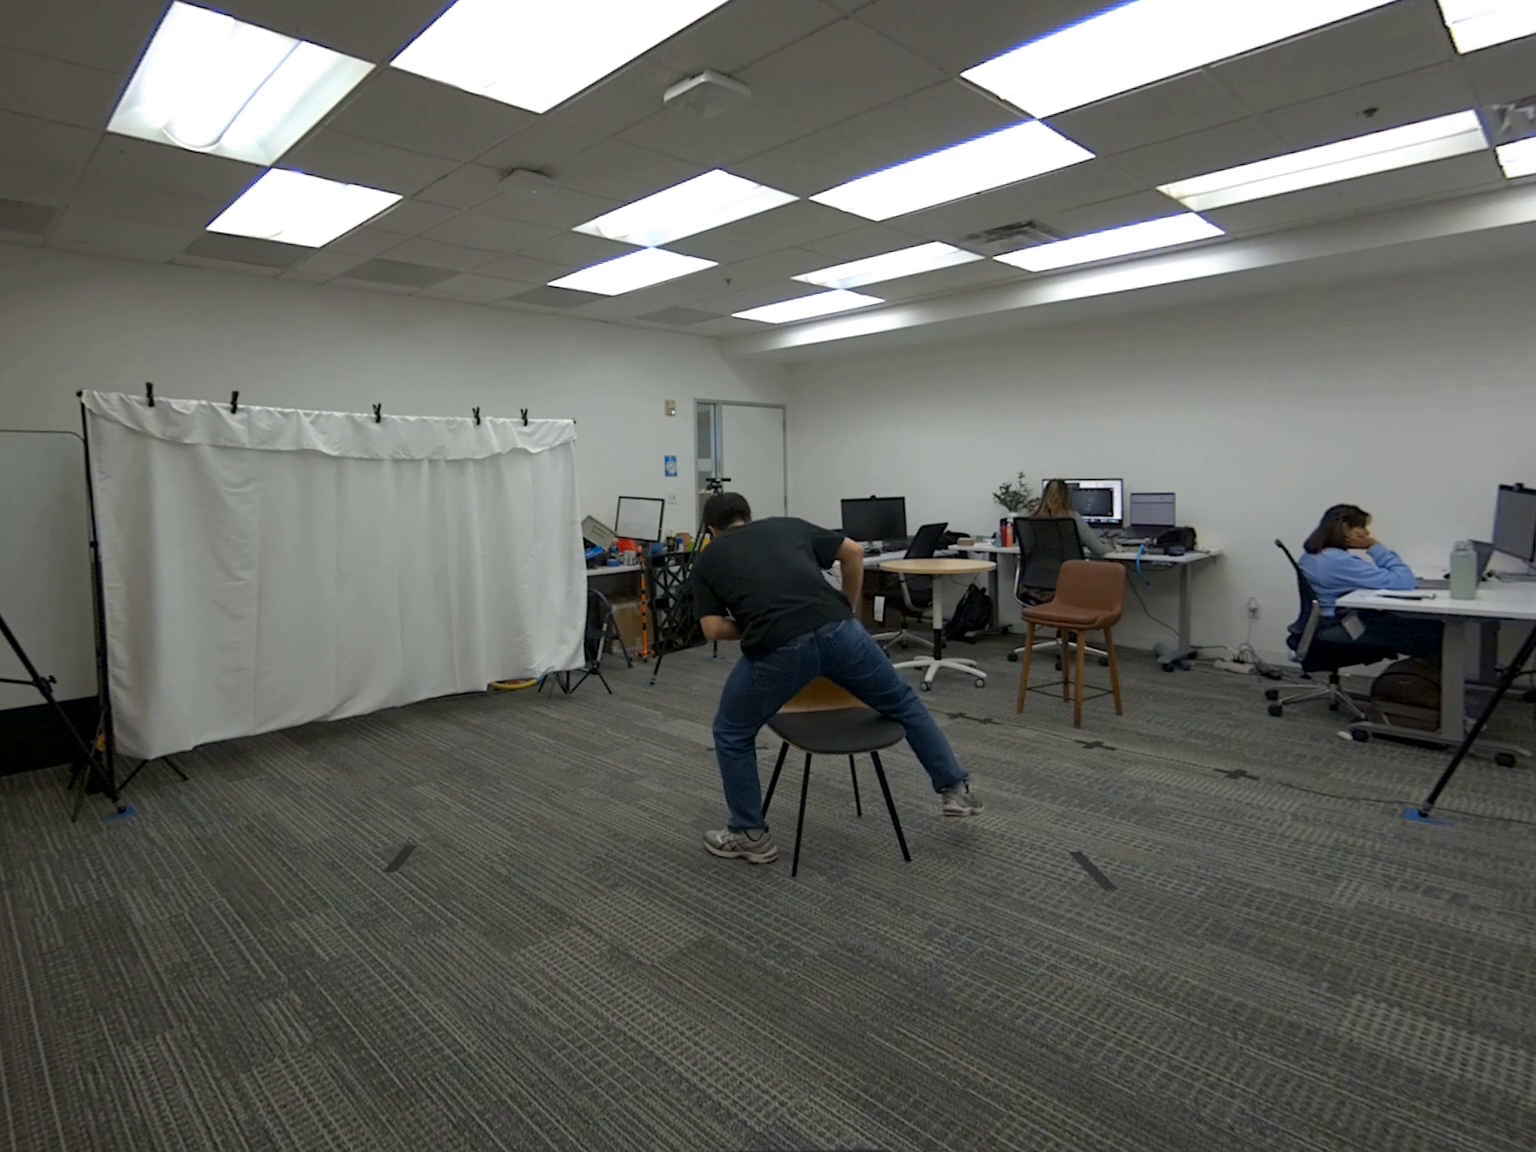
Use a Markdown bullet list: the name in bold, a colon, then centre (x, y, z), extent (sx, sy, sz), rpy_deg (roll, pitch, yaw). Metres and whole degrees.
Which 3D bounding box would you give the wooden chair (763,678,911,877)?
- **wooden chair**: centre (0.235, 0.602, 3.222), extent (0.471, 0.878, 0.531), rpy_deg (-2, 0, -16)
